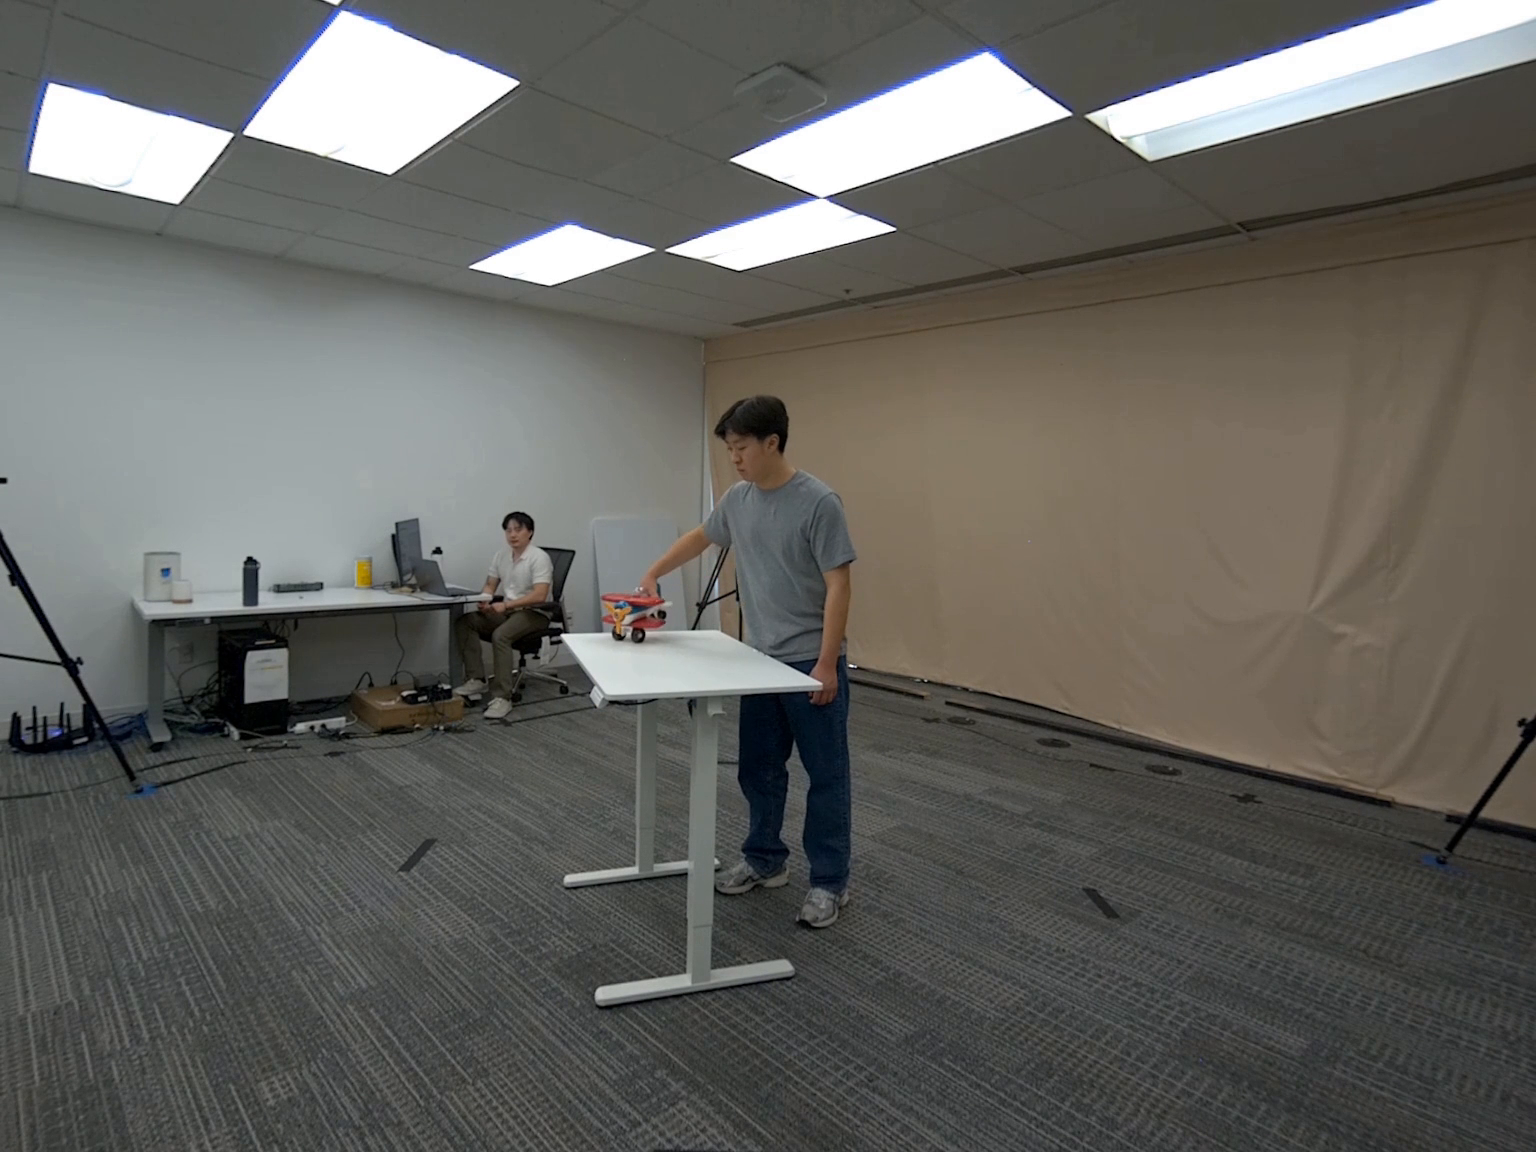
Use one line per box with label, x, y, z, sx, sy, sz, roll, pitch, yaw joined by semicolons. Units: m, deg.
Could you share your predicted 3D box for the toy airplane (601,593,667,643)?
toy airplane;-0.473;0.126;2.992;0.252;0.154;0.263;-6;23;4
